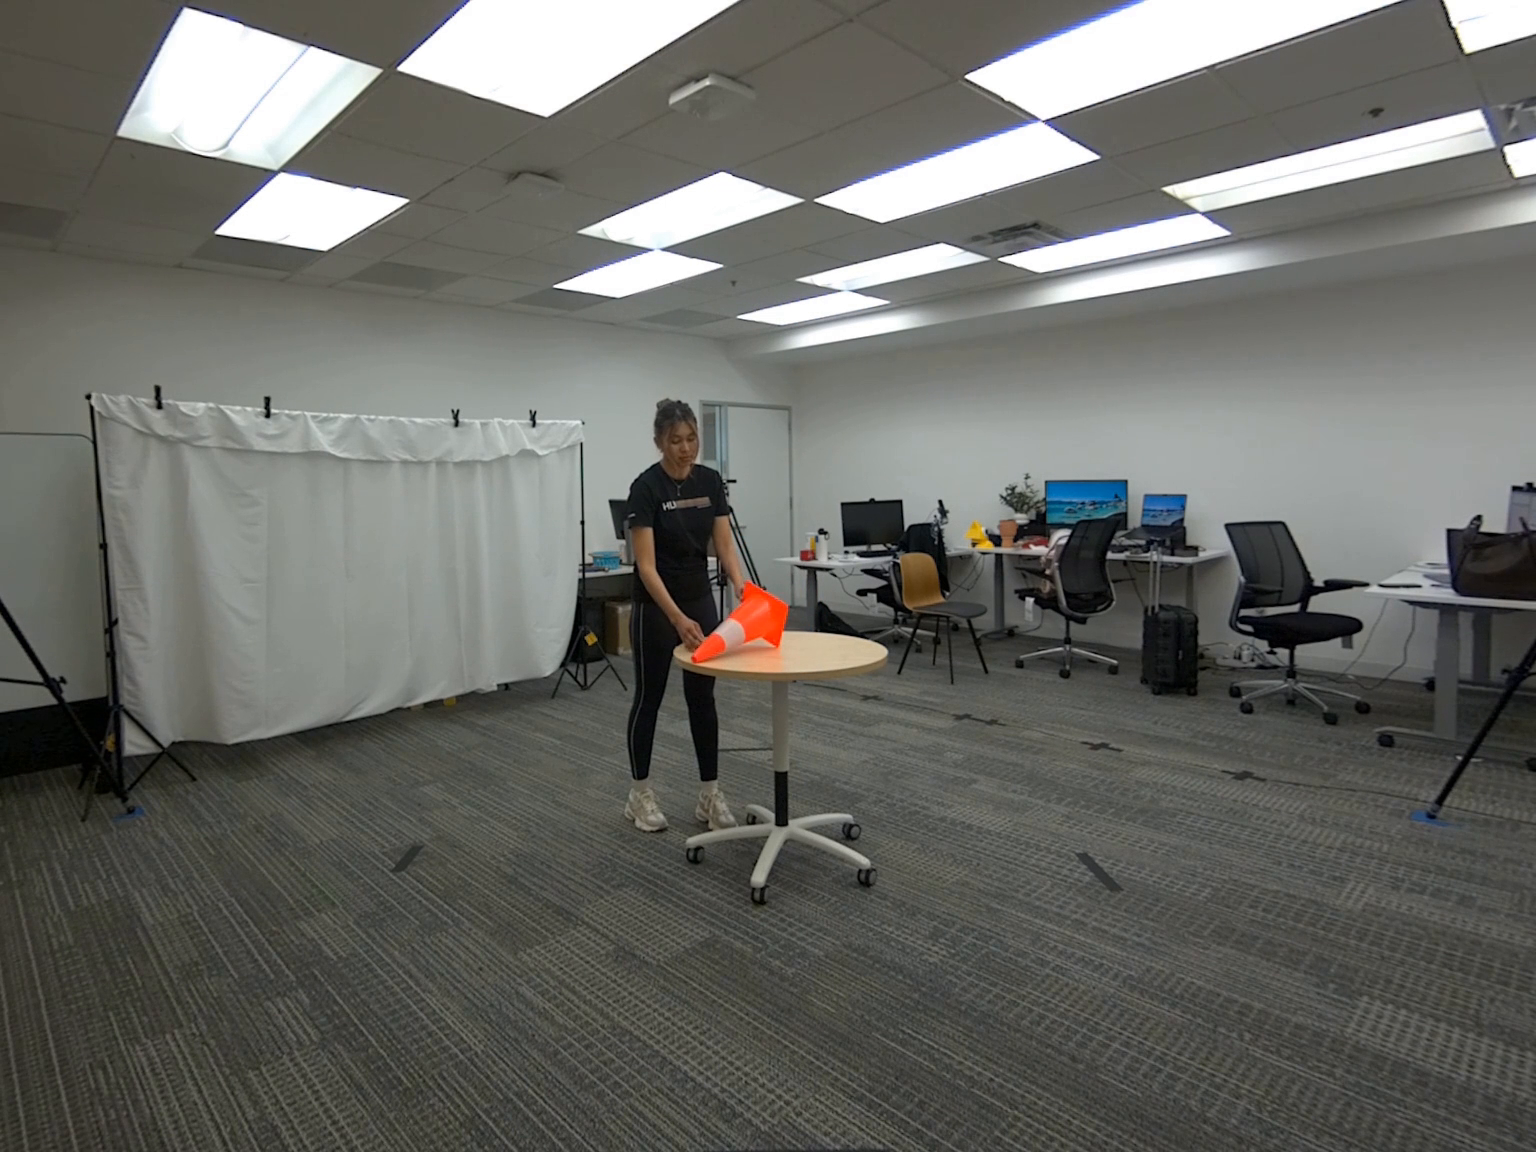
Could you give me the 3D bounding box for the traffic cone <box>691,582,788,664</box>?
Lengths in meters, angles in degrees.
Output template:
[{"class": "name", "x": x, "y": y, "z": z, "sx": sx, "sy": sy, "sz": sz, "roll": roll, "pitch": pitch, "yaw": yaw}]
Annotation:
[{"class": "traffic cone", "x": -0.133, "y": 0.212, "z": 2.985, "sx": 0.210, "sy": 0.201, "sz": 0.379, "roll": 28, "pitch": 39, "yaw": 28}]
